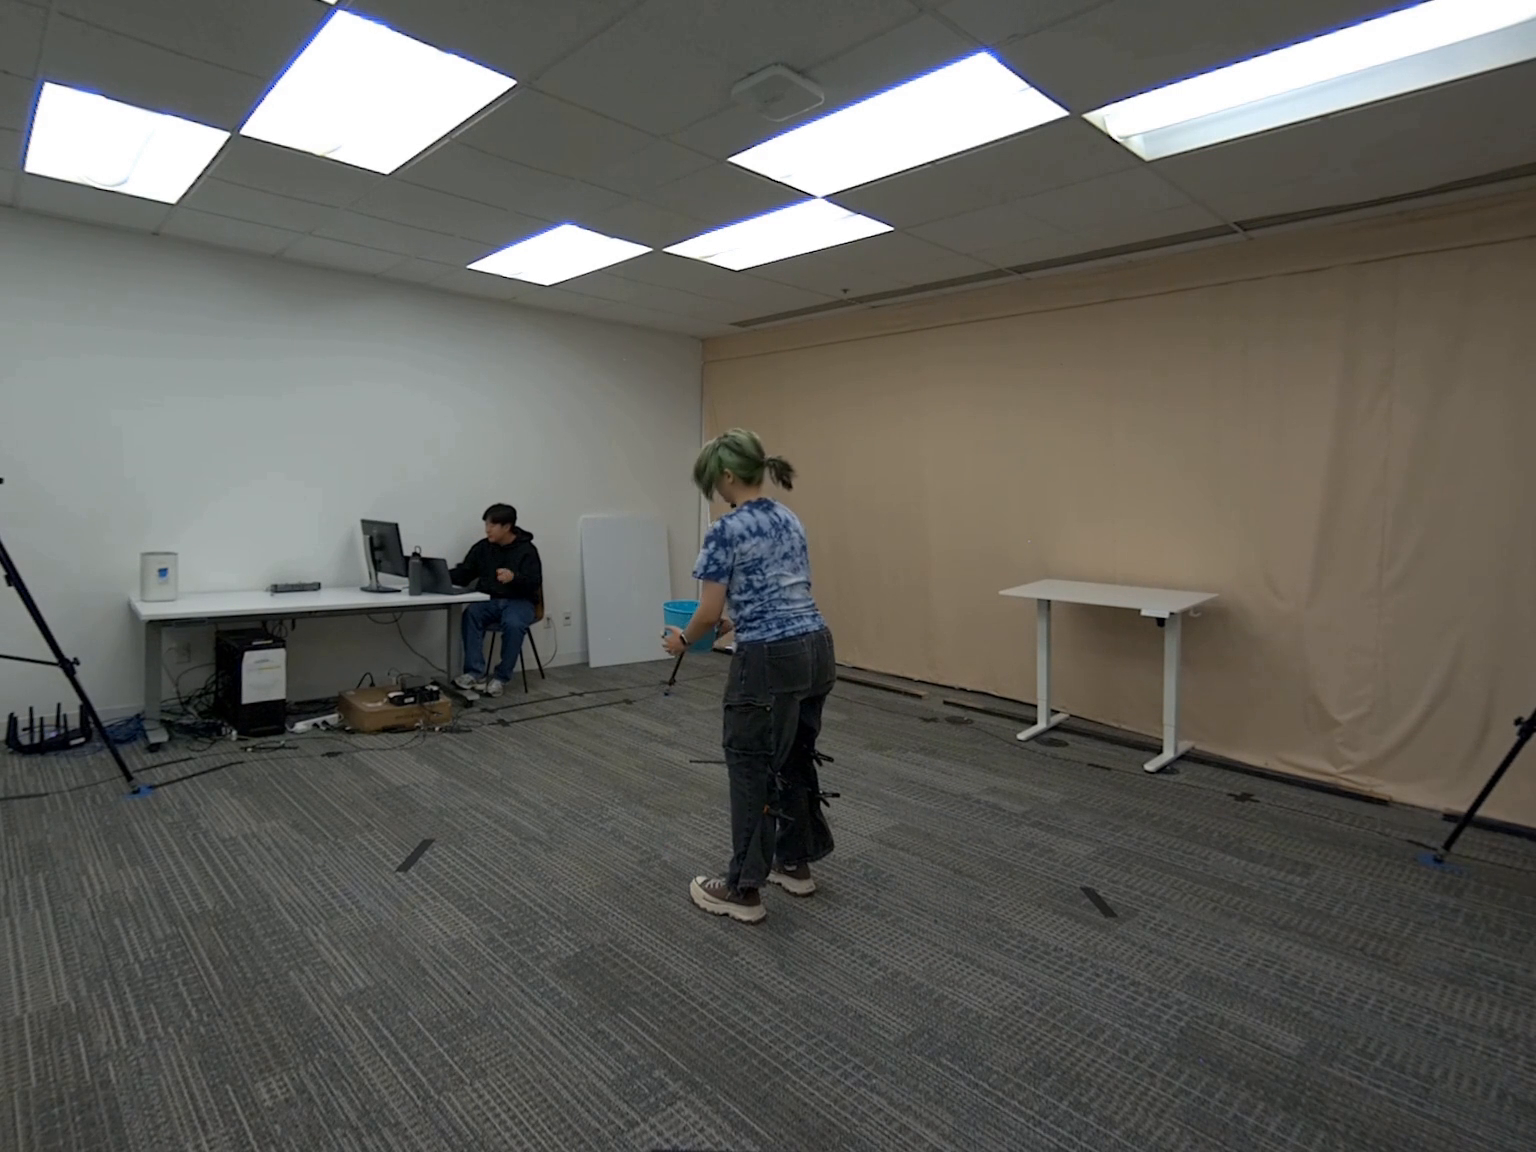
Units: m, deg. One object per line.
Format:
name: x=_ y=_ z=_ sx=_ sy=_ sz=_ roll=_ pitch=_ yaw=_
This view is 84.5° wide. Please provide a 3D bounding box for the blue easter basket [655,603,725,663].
blue easter basket: x=-0.288 y=0.208 z=3.174 sx=0.243 sy=0.155 sz=0.245 roll=3 pitch=7 yaw=-2
